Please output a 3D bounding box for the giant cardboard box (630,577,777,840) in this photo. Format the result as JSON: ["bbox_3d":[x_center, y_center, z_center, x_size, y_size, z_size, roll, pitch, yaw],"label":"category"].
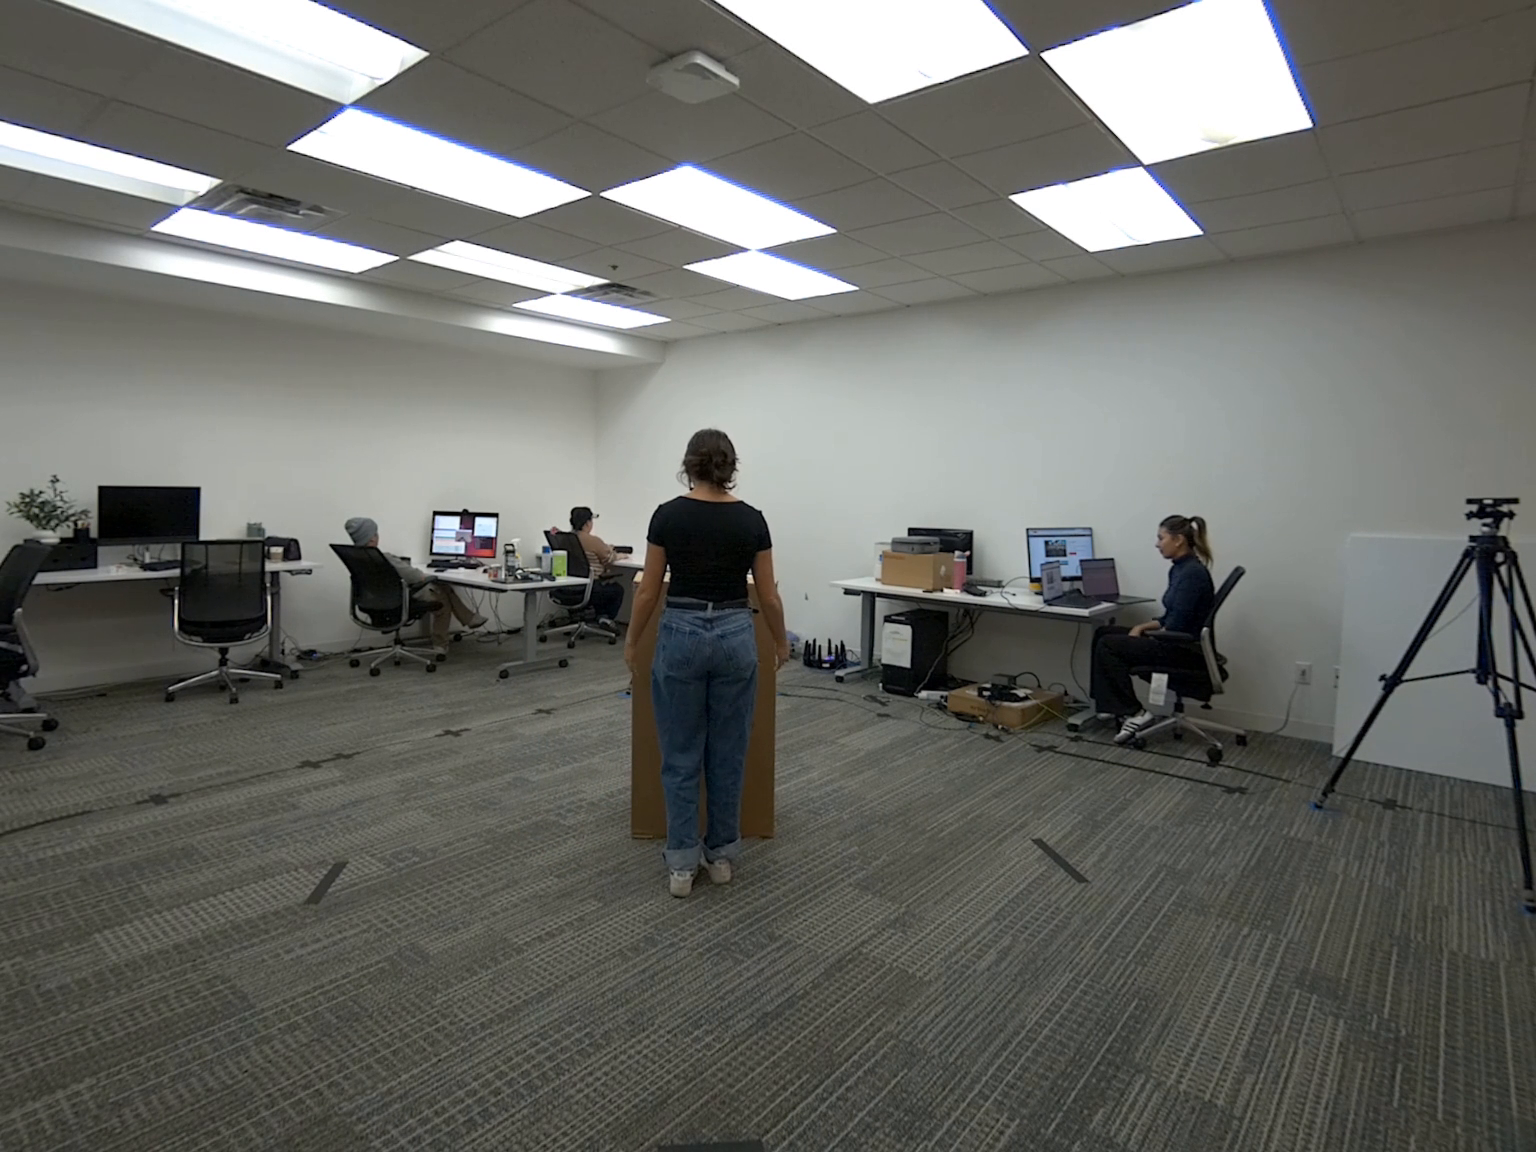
[{"bbox_3d":[-0.281,0.514,3.570,0.575,1.024,0.429,1,2,-4],"label":"giant cardboard box"}]
